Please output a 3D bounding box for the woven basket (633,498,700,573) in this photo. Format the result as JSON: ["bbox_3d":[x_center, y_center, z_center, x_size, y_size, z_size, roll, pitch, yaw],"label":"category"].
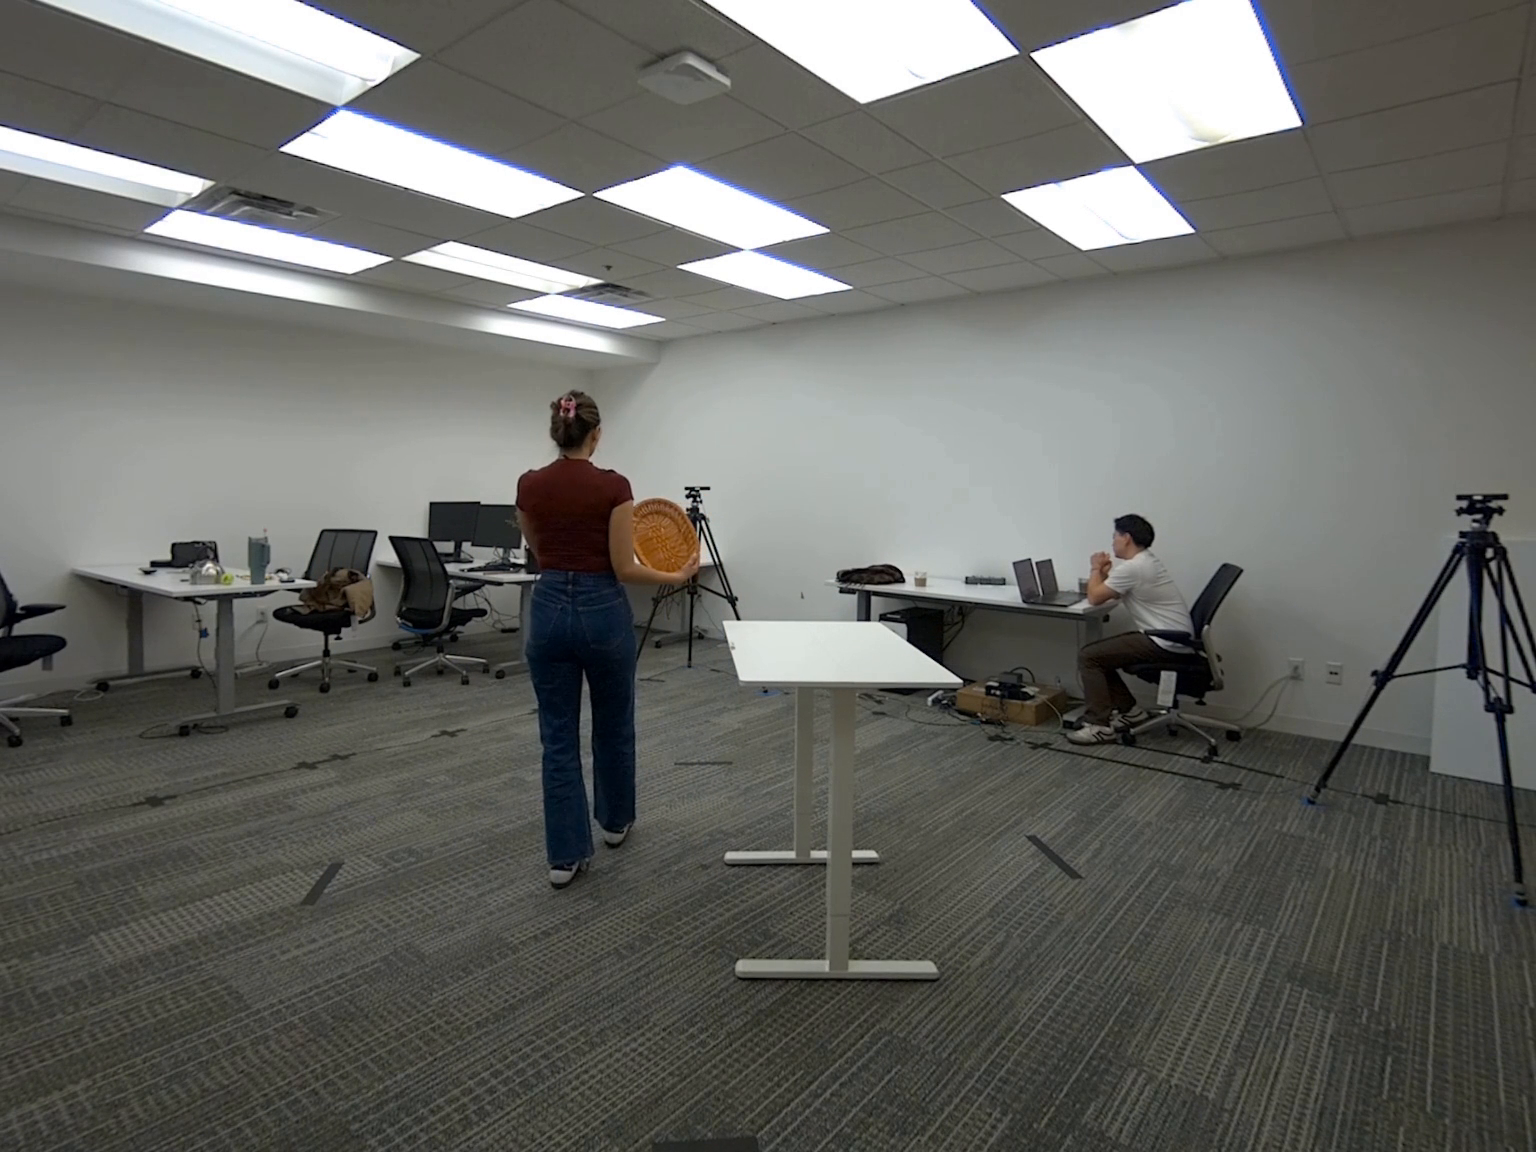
[{"bbox_3d":[-0.421,-0.136,3.265,0.251,0.362,0.071,-17,-28,-9],"label":"woven basket"}]
